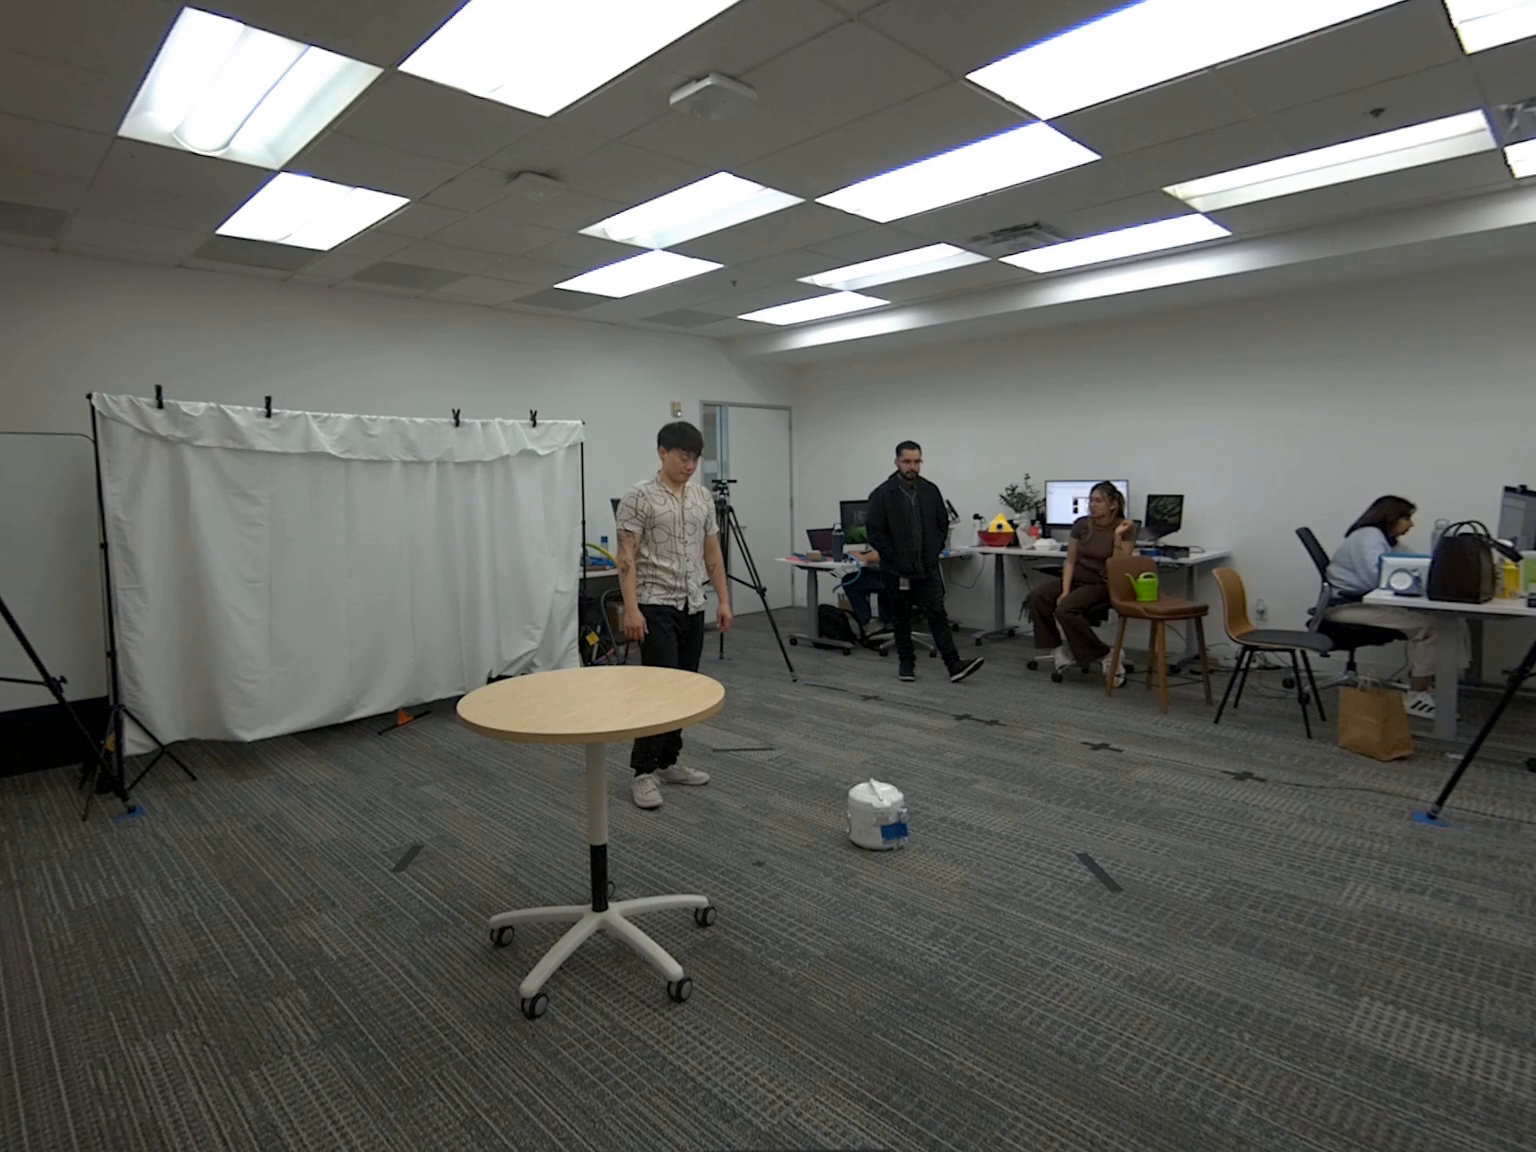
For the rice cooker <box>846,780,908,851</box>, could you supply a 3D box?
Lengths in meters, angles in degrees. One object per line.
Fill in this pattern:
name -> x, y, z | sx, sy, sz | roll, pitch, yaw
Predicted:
rice cooker -> 0.413, 0.903, 3.271 | 0.217, 0.232, 0.222 | -1, 4, -4
